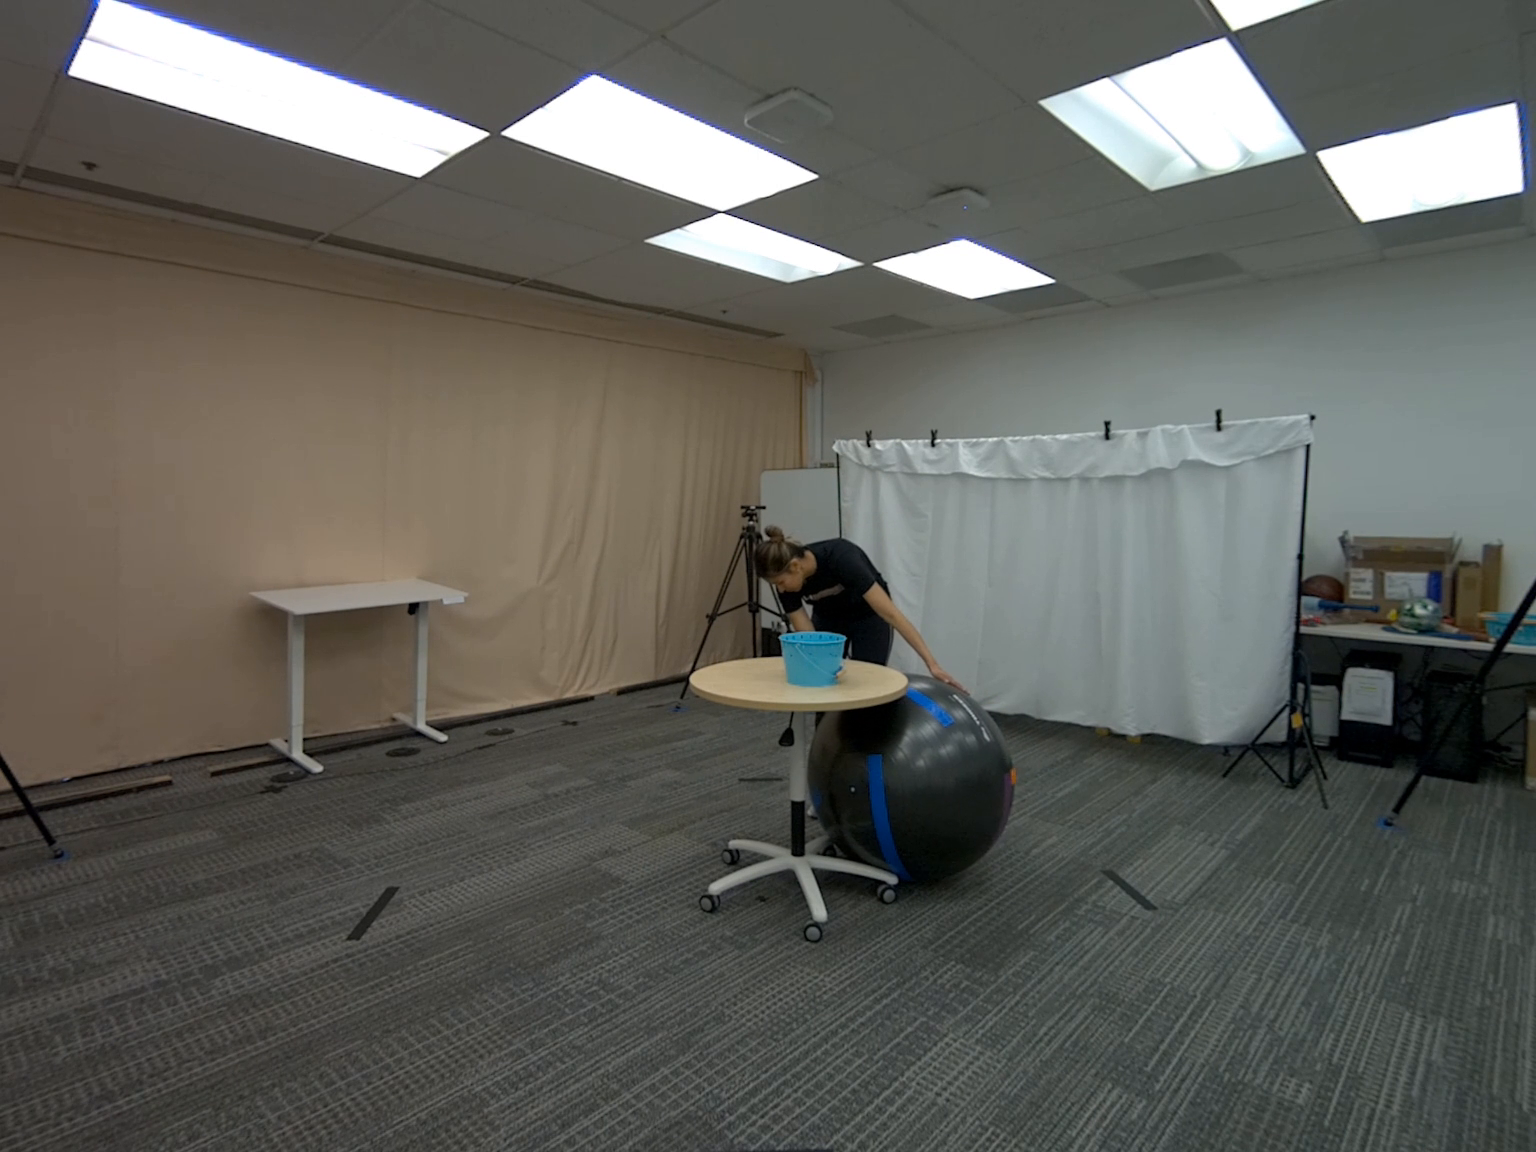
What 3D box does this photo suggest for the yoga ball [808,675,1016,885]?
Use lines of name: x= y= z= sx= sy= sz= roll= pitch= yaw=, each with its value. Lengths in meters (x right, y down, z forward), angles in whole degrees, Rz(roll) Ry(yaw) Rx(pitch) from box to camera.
yoga ball: x=0.543 y=0.760 z=3.188 sx=0.757 sy=0.756 sz=0.761 roll=0 pitch=4 yaw=-2
